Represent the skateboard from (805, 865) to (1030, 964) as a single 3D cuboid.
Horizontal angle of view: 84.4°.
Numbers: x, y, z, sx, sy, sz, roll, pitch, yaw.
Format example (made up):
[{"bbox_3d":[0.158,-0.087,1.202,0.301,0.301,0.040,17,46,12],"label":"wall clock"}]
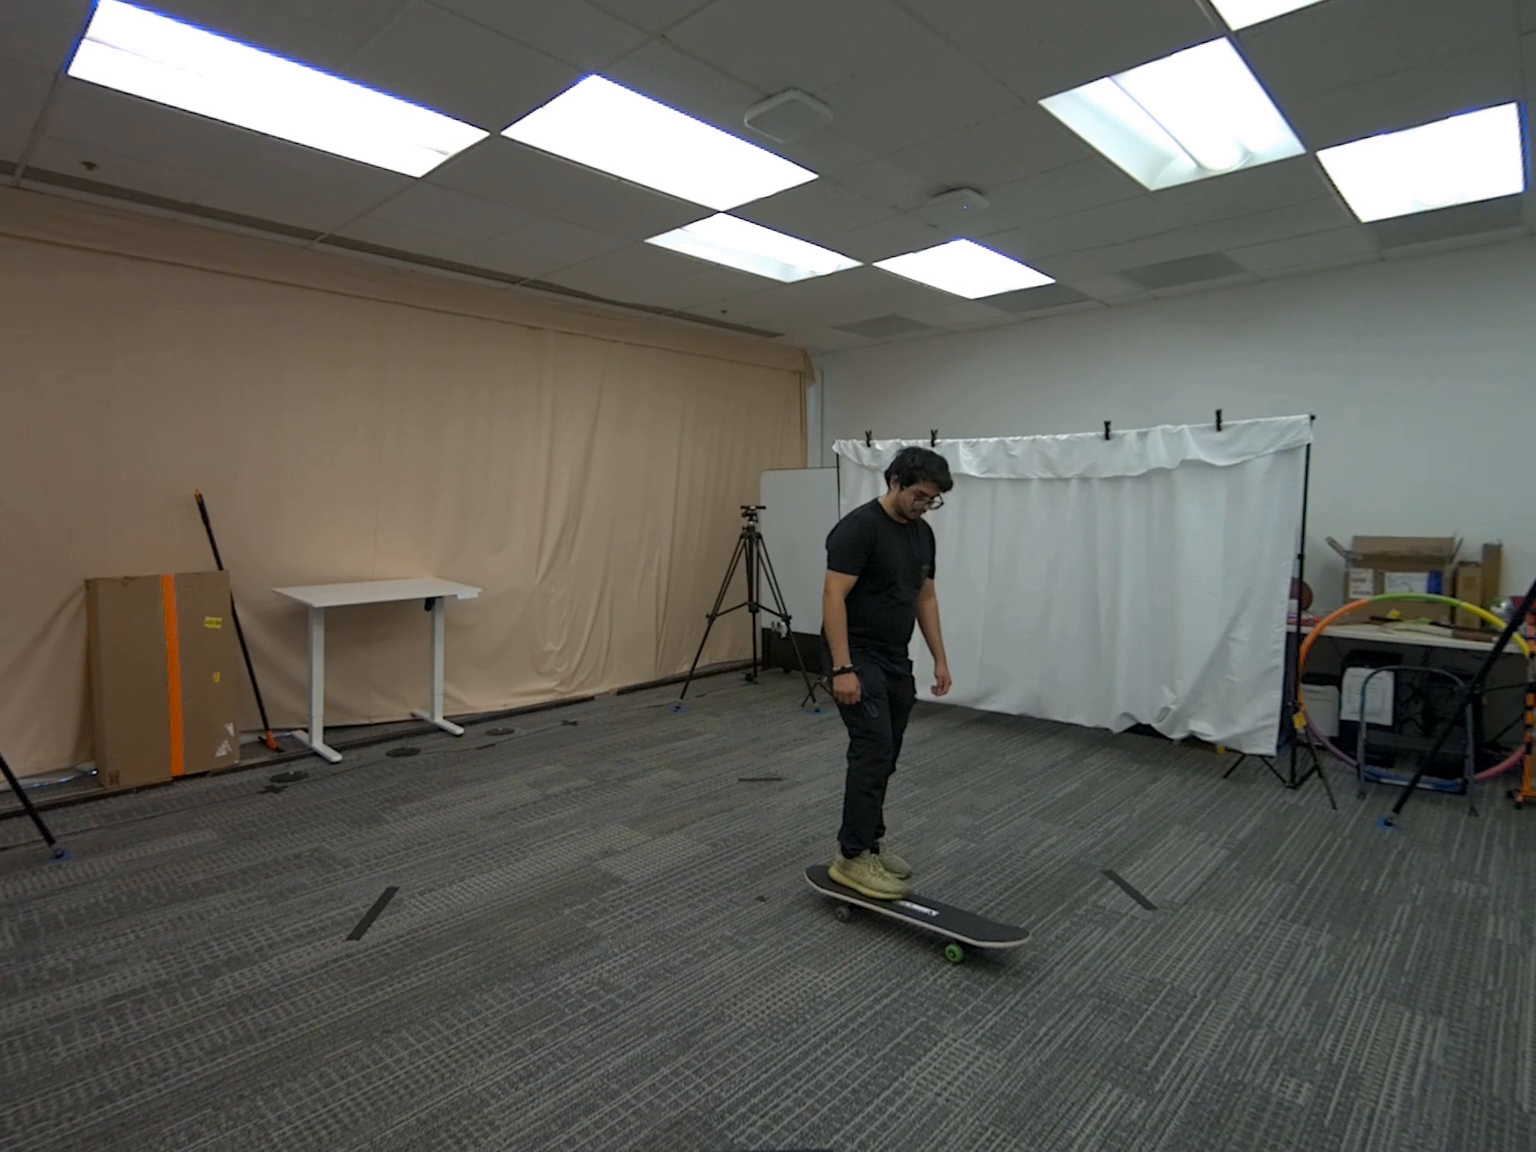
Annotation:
[{"bbox_3d":[0.466,1.105,2.742,0.811,0.110,0.187,3,1,40],"label":"skateboard"}]
